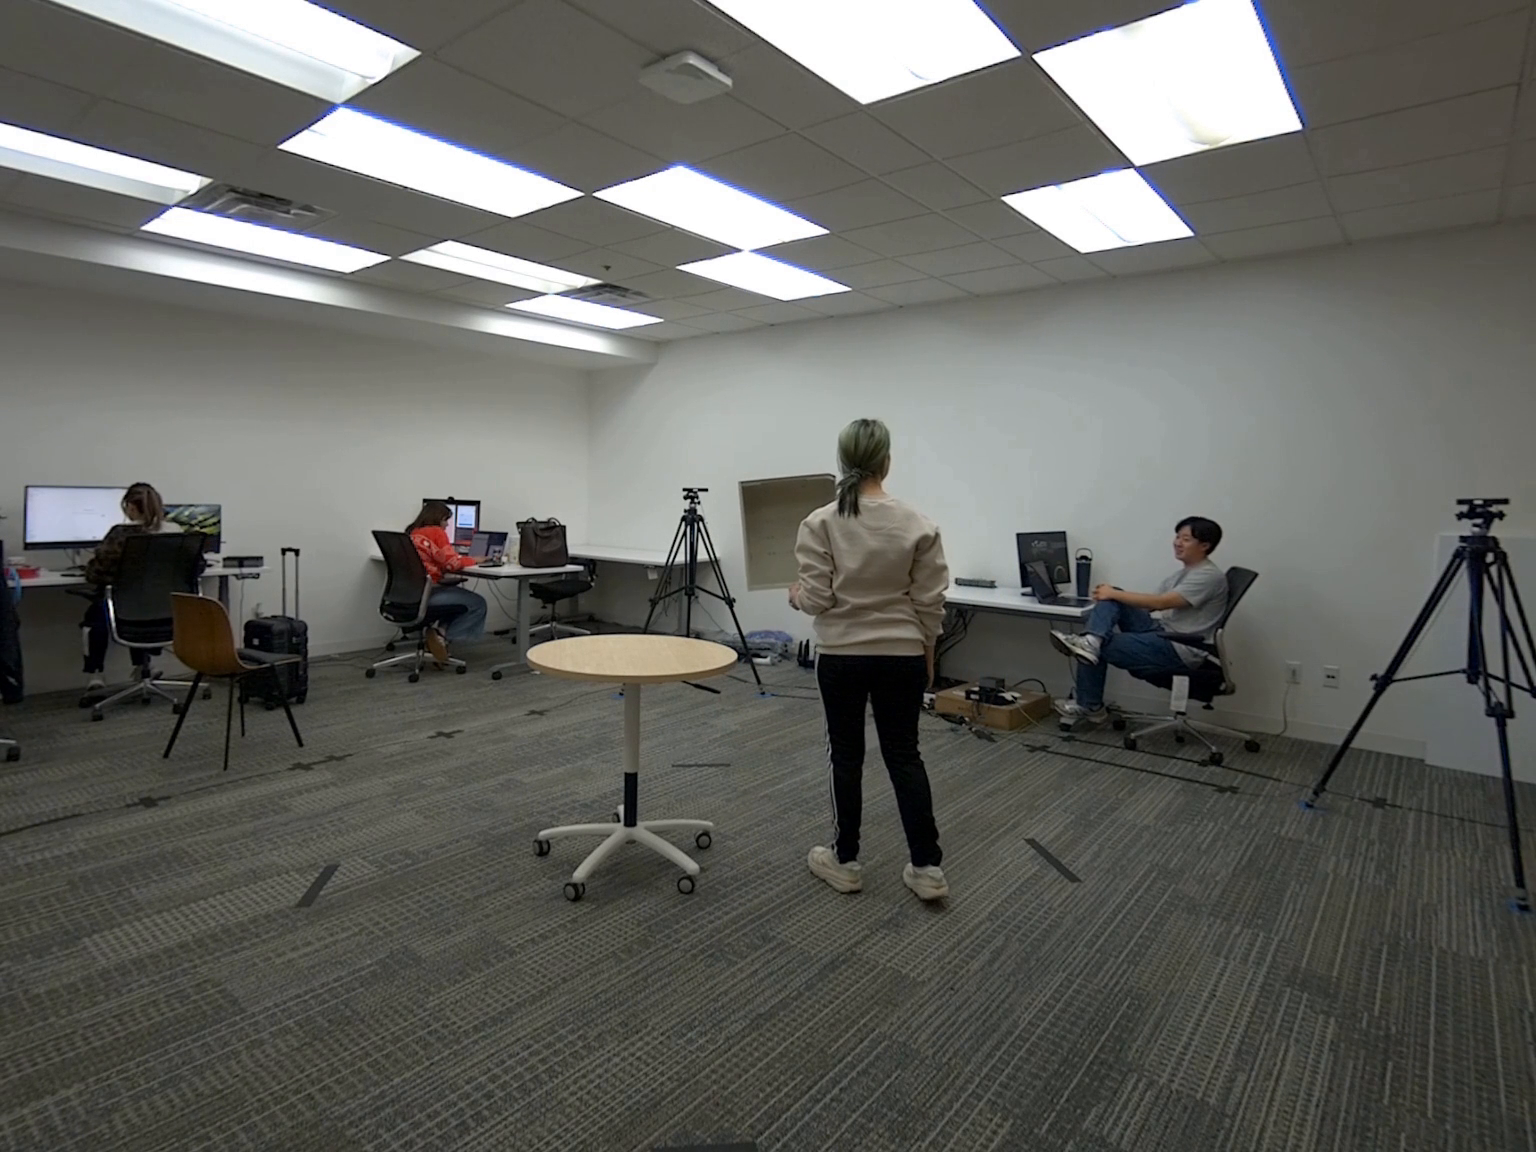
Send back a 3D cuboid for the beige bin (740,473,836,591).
[{"bbox_3d":[0.083,-0.164,3.292,0.378,0.424,0.188,-4,-3,0],"label":"beige bin"}]
